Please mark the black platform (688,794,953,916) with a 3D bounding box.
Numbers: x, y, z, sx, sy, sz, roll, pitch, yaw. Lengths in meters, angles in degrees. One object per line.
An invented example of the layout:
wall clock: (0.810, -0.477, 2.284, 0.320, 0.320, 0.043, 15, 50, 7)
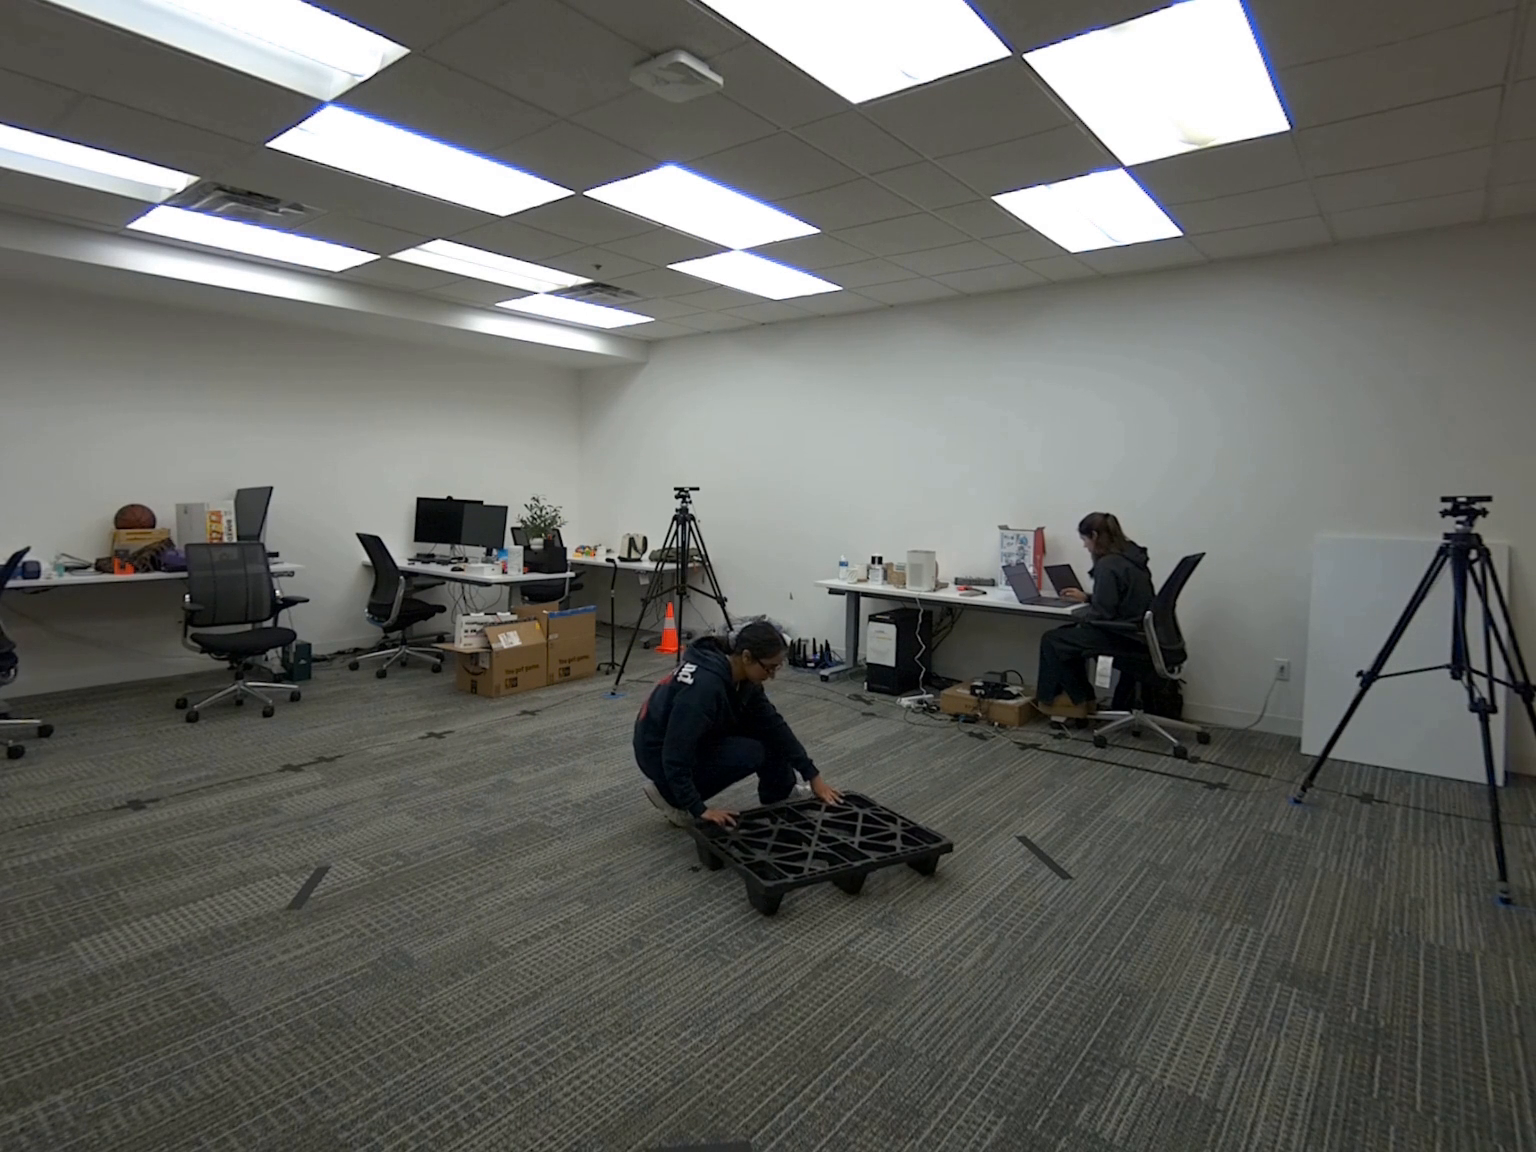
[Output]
black platform: (0.163, 1.001, 3.137, 0.784, 0.143, 0.623, -2, 6, -29)
